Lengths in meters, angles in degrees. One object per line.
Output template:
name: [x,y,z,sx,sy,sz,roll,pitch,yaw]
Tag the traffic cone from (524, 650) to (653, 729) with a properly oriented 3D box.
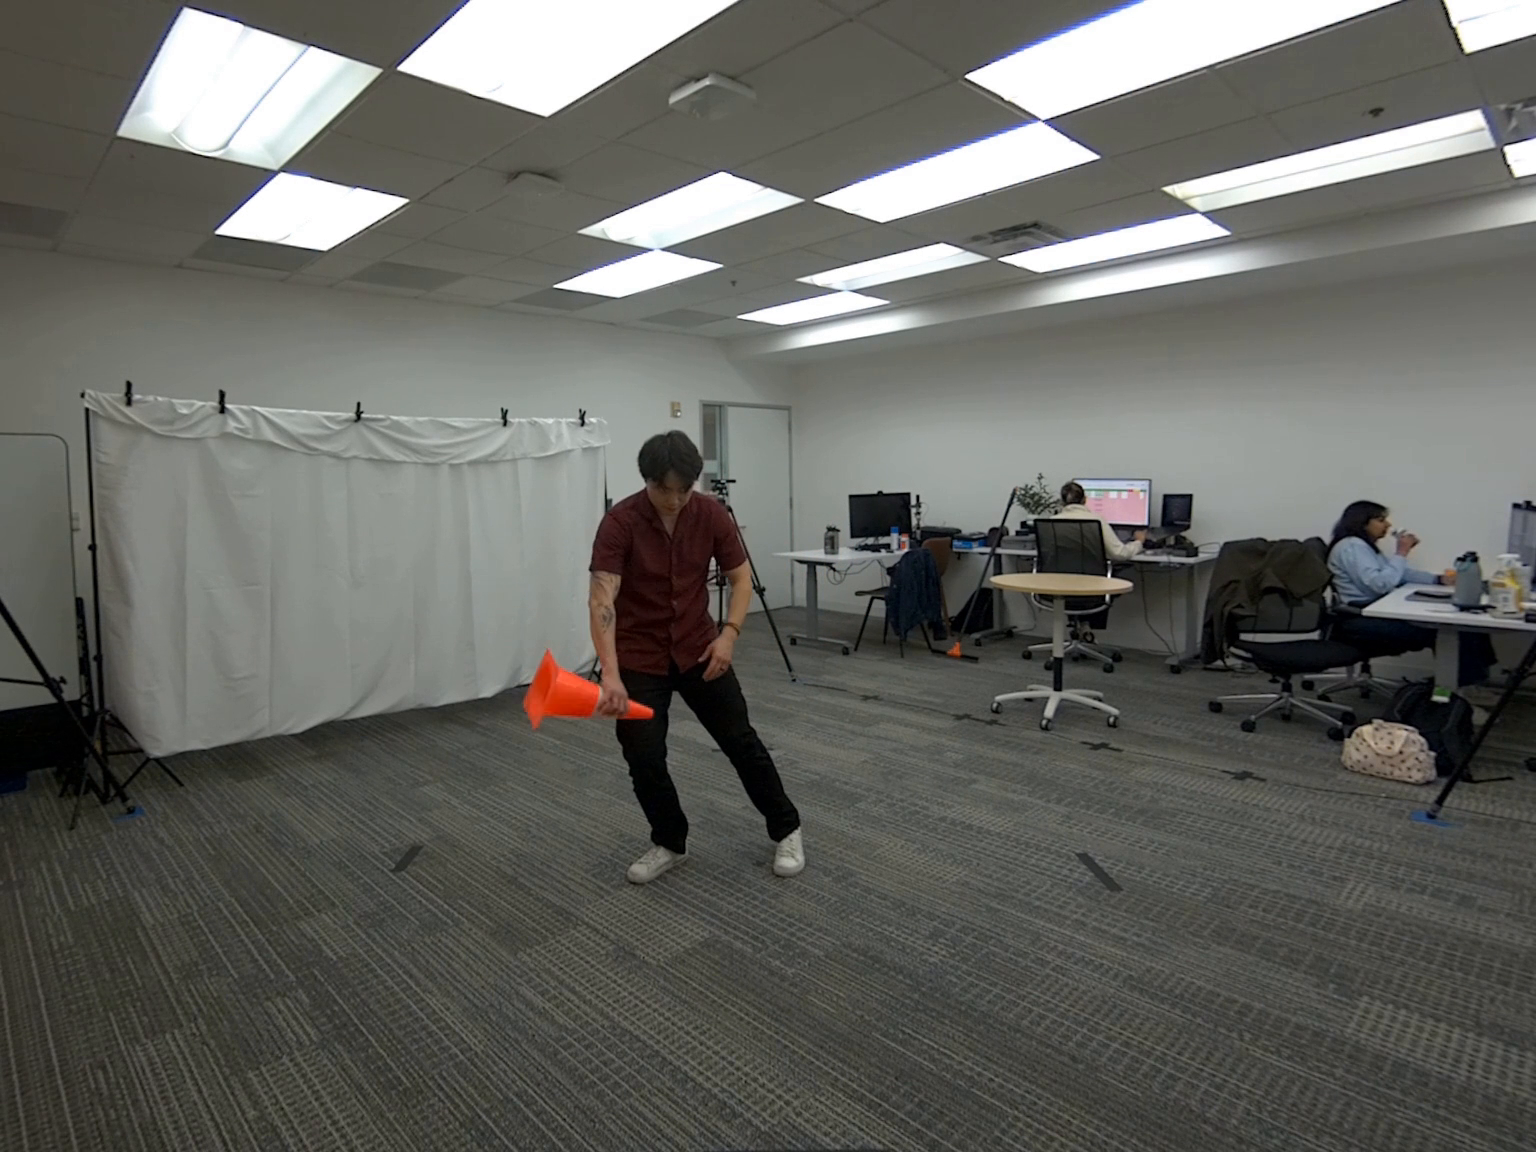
traffic cone: [-0.525,0.400,2.670,0.373,0.204,0.209,20,6,-25]
